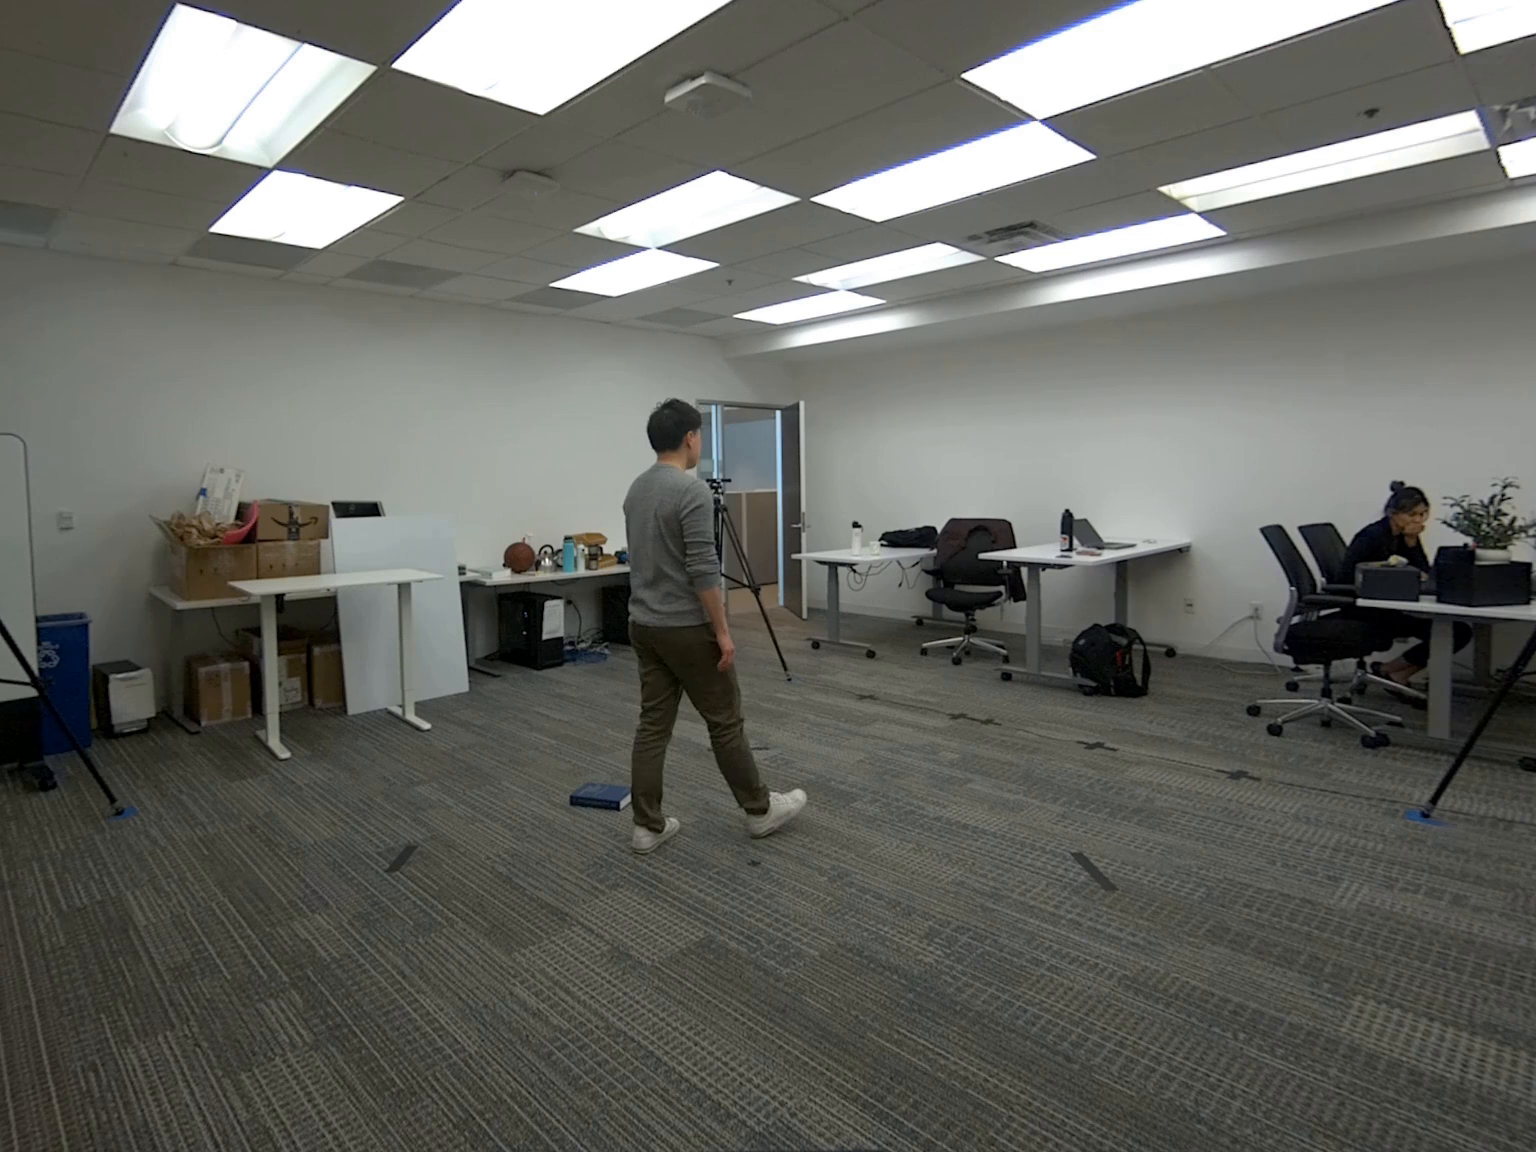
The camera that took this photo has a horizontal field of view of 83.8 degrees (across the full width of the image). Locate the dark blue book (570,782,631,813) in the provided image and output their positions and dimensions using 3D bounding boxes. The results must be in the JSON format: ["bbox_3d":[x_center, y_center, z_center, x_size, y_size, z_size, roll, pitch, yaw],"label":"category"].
[{"bbox_3d":[-0.717,0.962,3.739,0.249,0.045,0.161,1,6,18],"label":"dark blue book"}]
